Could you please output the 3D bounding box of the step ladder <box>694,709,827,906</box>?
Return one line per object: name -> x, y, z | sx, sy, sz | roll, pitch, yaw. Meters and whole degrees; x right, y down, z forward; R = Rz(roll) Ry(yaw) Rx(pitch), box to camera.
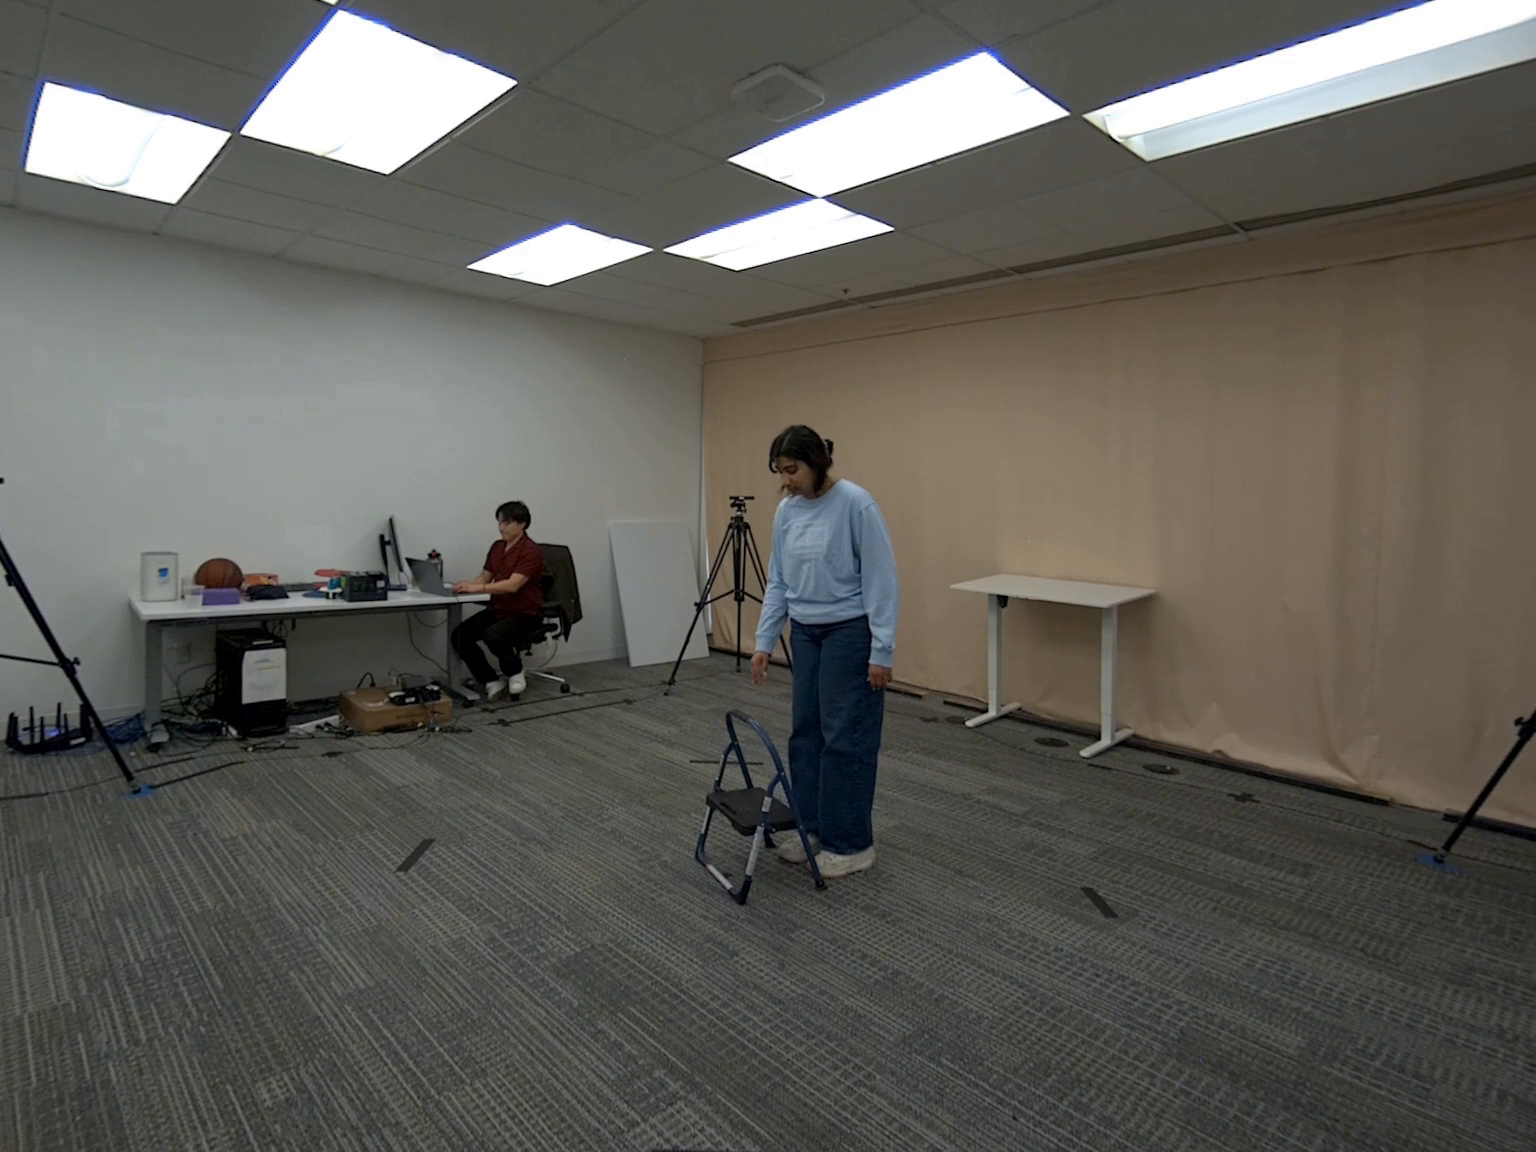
step ladder -> -0.037, 0.800, 3.114 | 0.343, 0.605, 0.439 | 0, 3, -27
